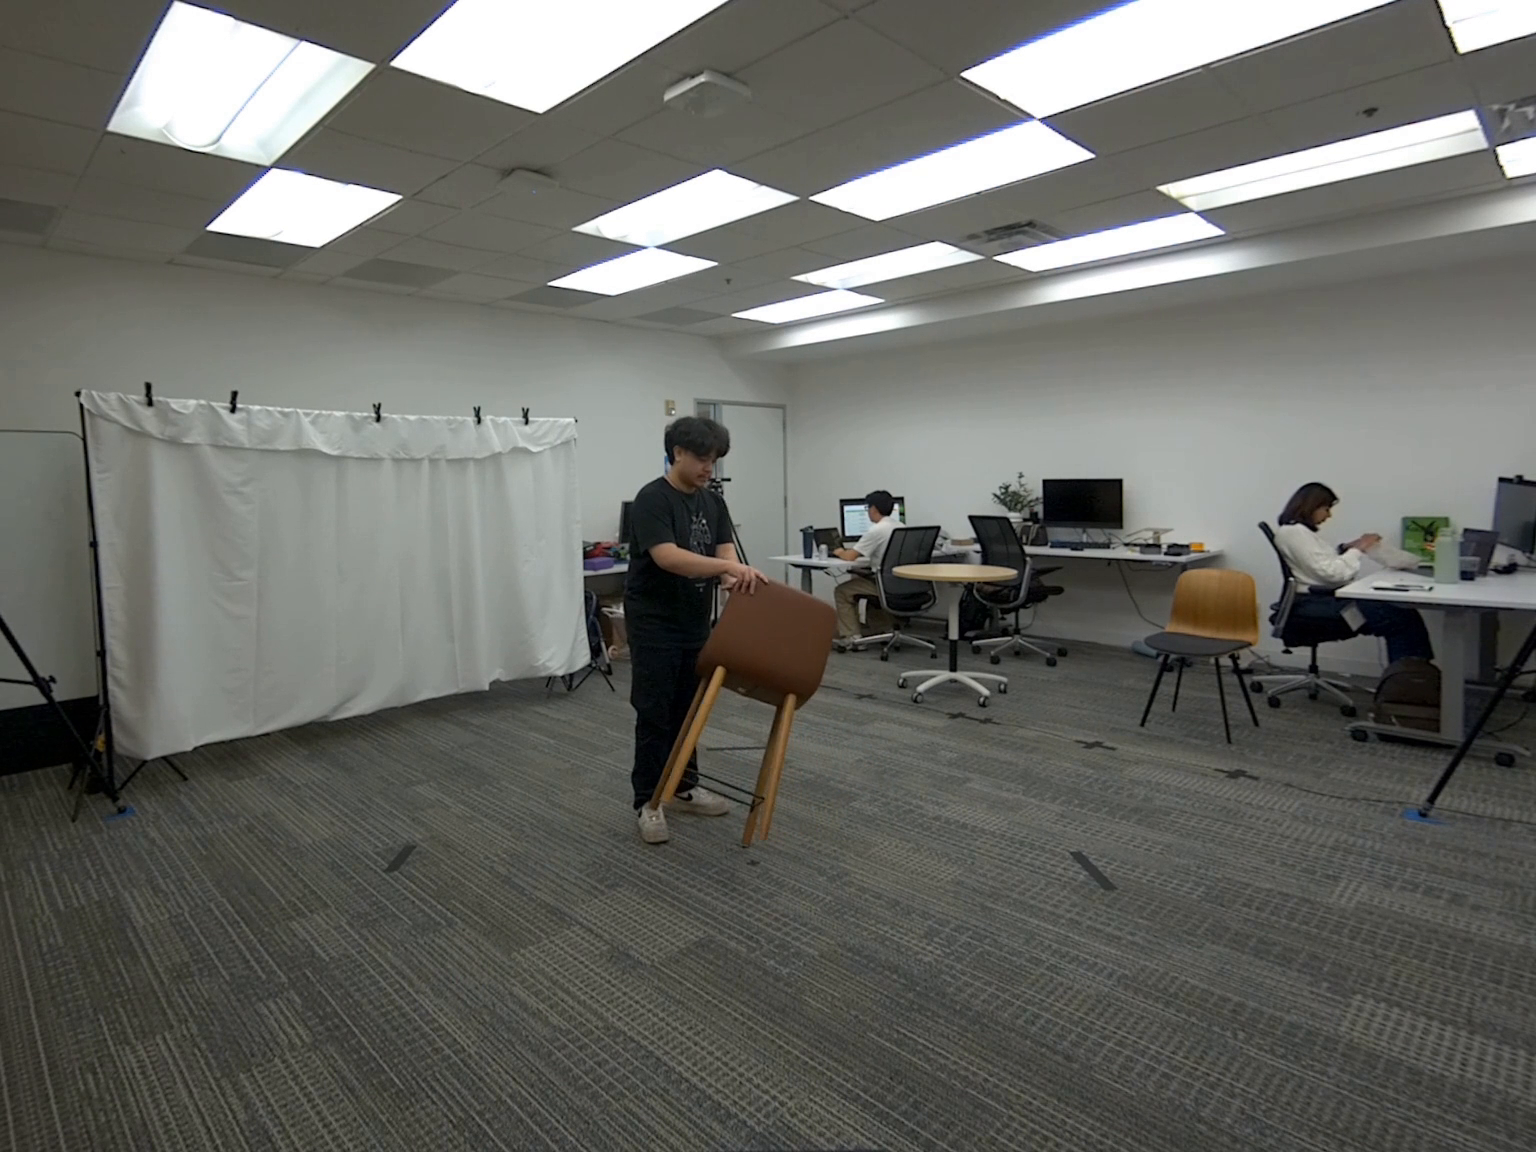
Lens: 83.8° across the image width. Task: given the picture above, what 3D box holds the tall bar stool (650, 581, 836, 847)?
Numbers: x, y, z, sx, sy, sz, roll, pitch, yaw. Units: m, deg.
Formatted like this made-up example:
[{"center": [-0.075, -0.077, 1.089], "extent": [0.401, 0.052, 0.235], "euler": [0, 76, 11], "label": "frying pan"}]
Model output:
[{"center": [-0.085, 0.503, 3.210], "extent": [0.456, 0.899, 0.463], "euler": [20, -20, -1], "label": "tall bar stool"}]
